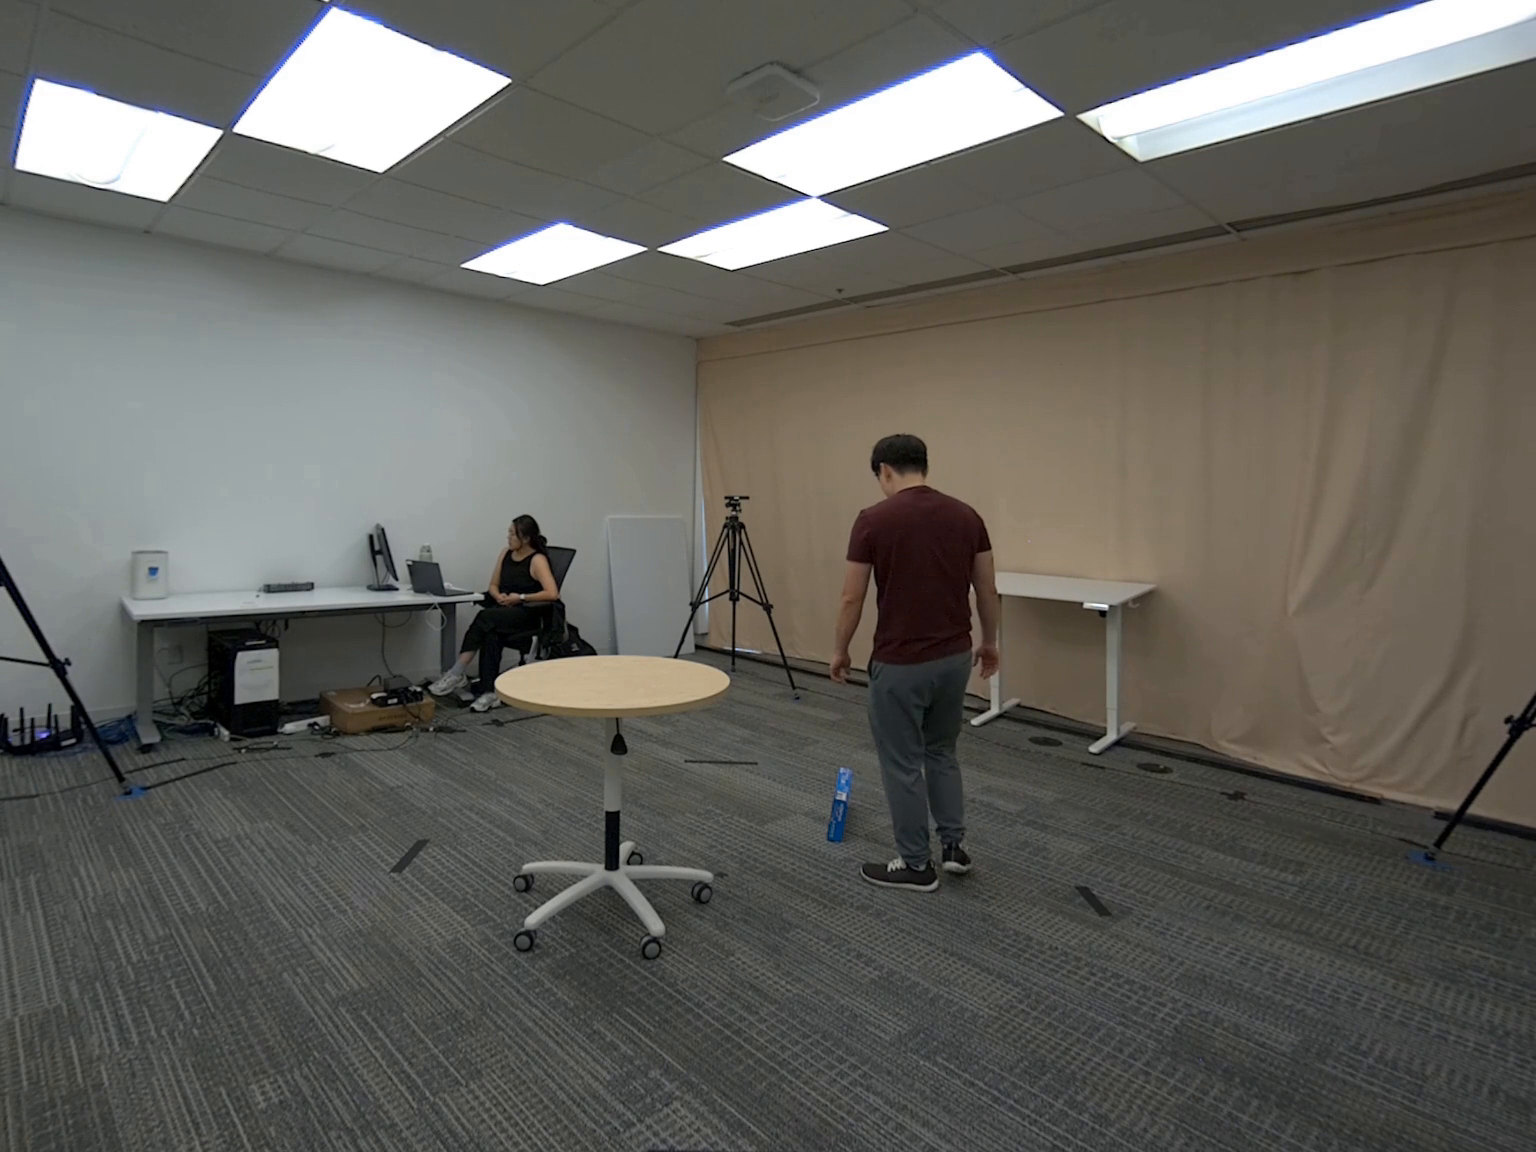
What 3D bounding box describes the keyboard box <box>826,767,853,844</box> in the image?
[{"bbox_3d":[0.305,0.980,3.645,0.059,0.175,0.435,10,6,7],"label":"keyboard box"}]
